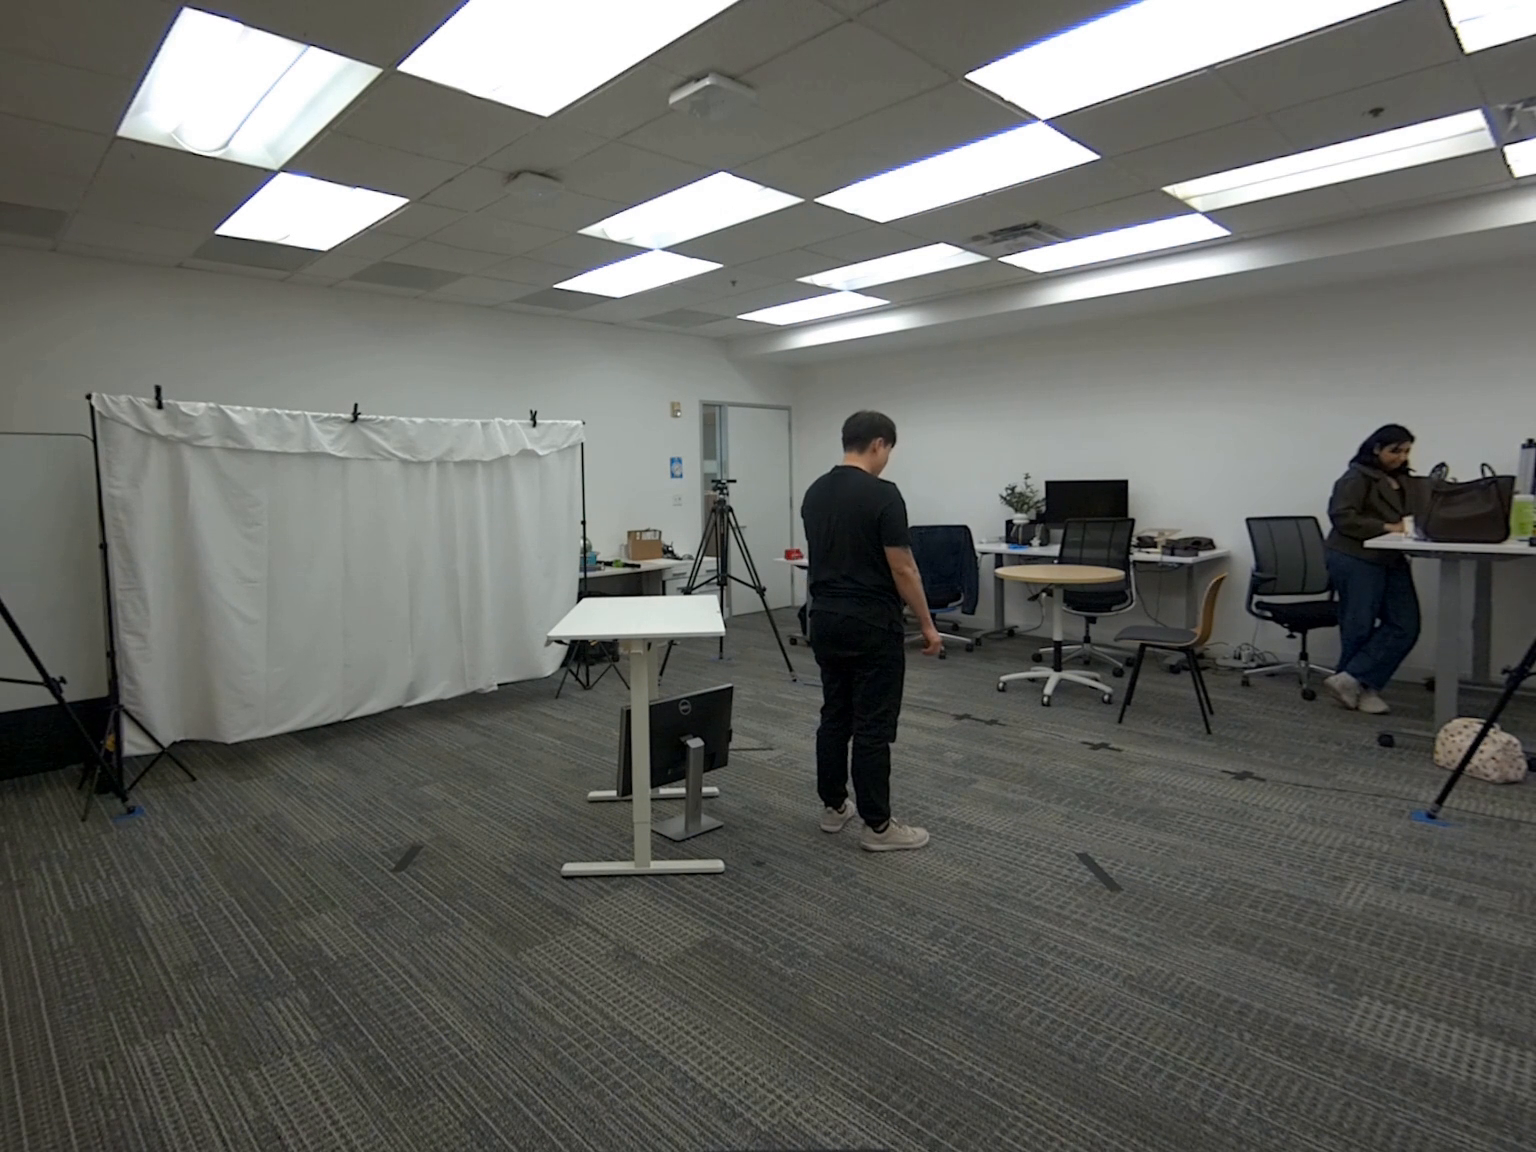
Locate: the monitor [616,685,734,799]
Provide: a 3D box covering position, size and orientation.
[{"bbox_3d":[-0.332,0.751,3.434,0.524,0.523,0.192,-3,-1,-44],"label":"monitor"}]
